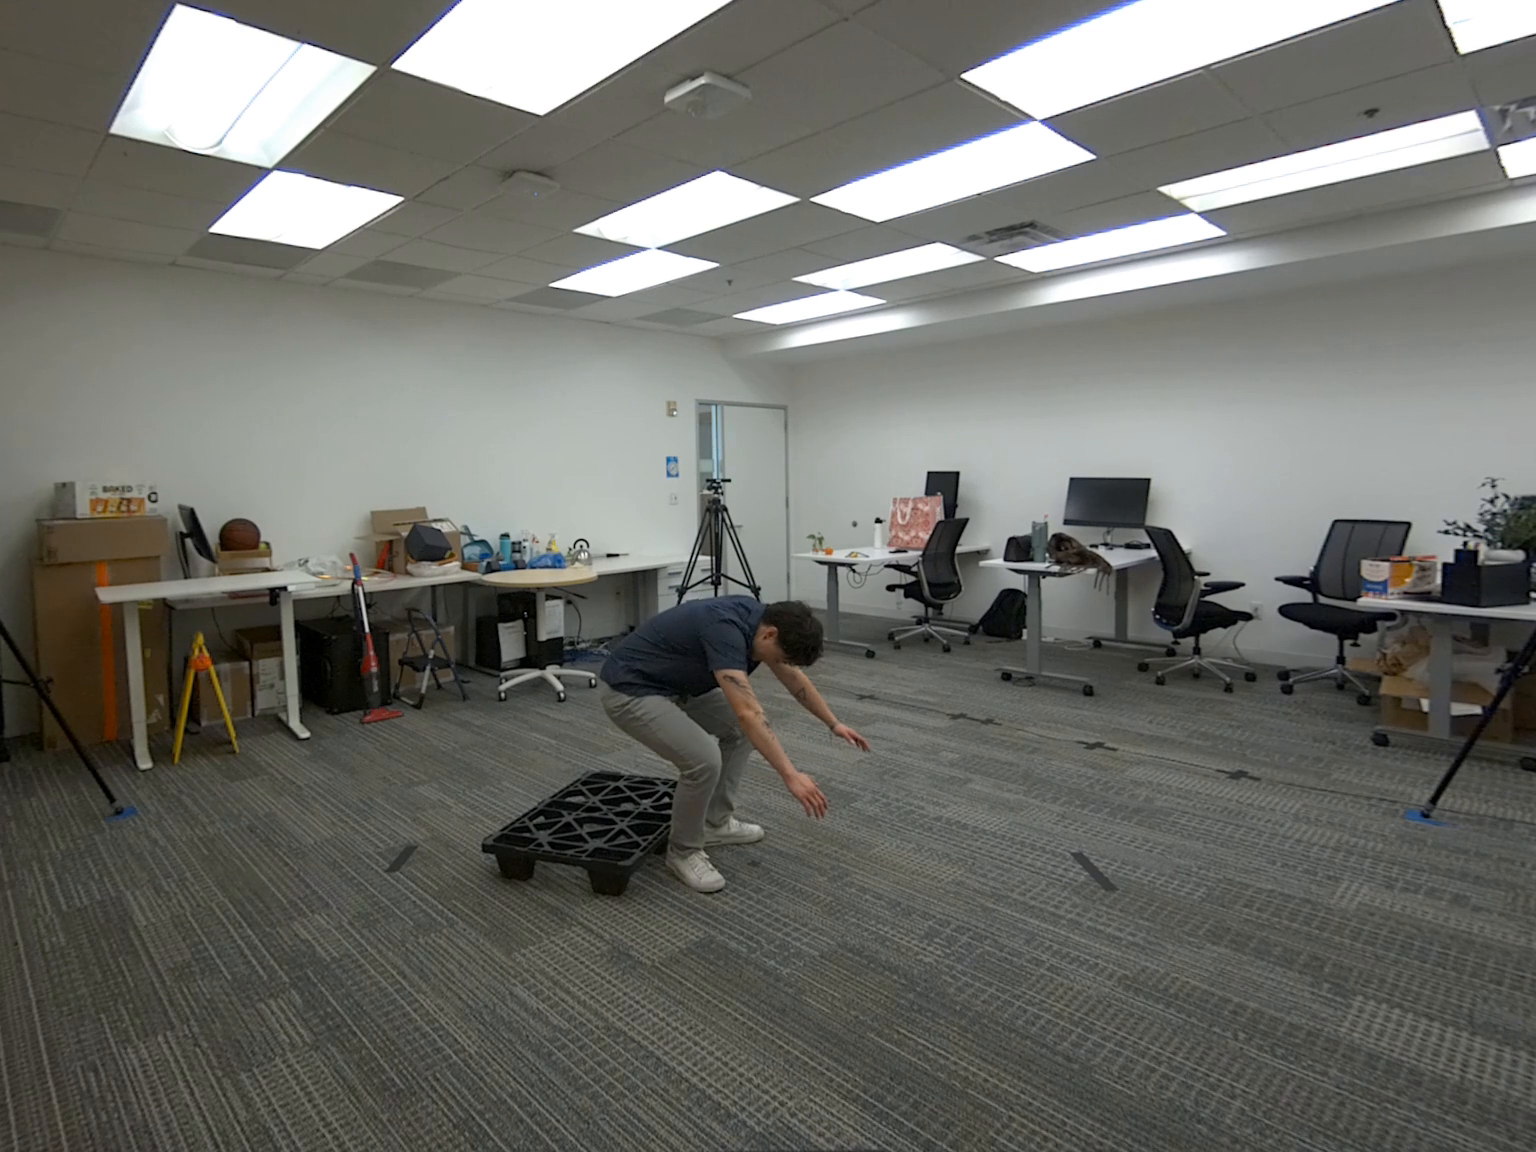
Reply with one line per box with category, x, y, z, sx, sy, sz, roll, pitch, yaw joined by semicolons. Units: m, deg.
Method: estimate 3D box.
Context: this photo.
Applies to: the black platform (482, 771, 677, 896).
black platform;-0.610;0.968;3.294;0.616;0.142;0.794;1;7;19
